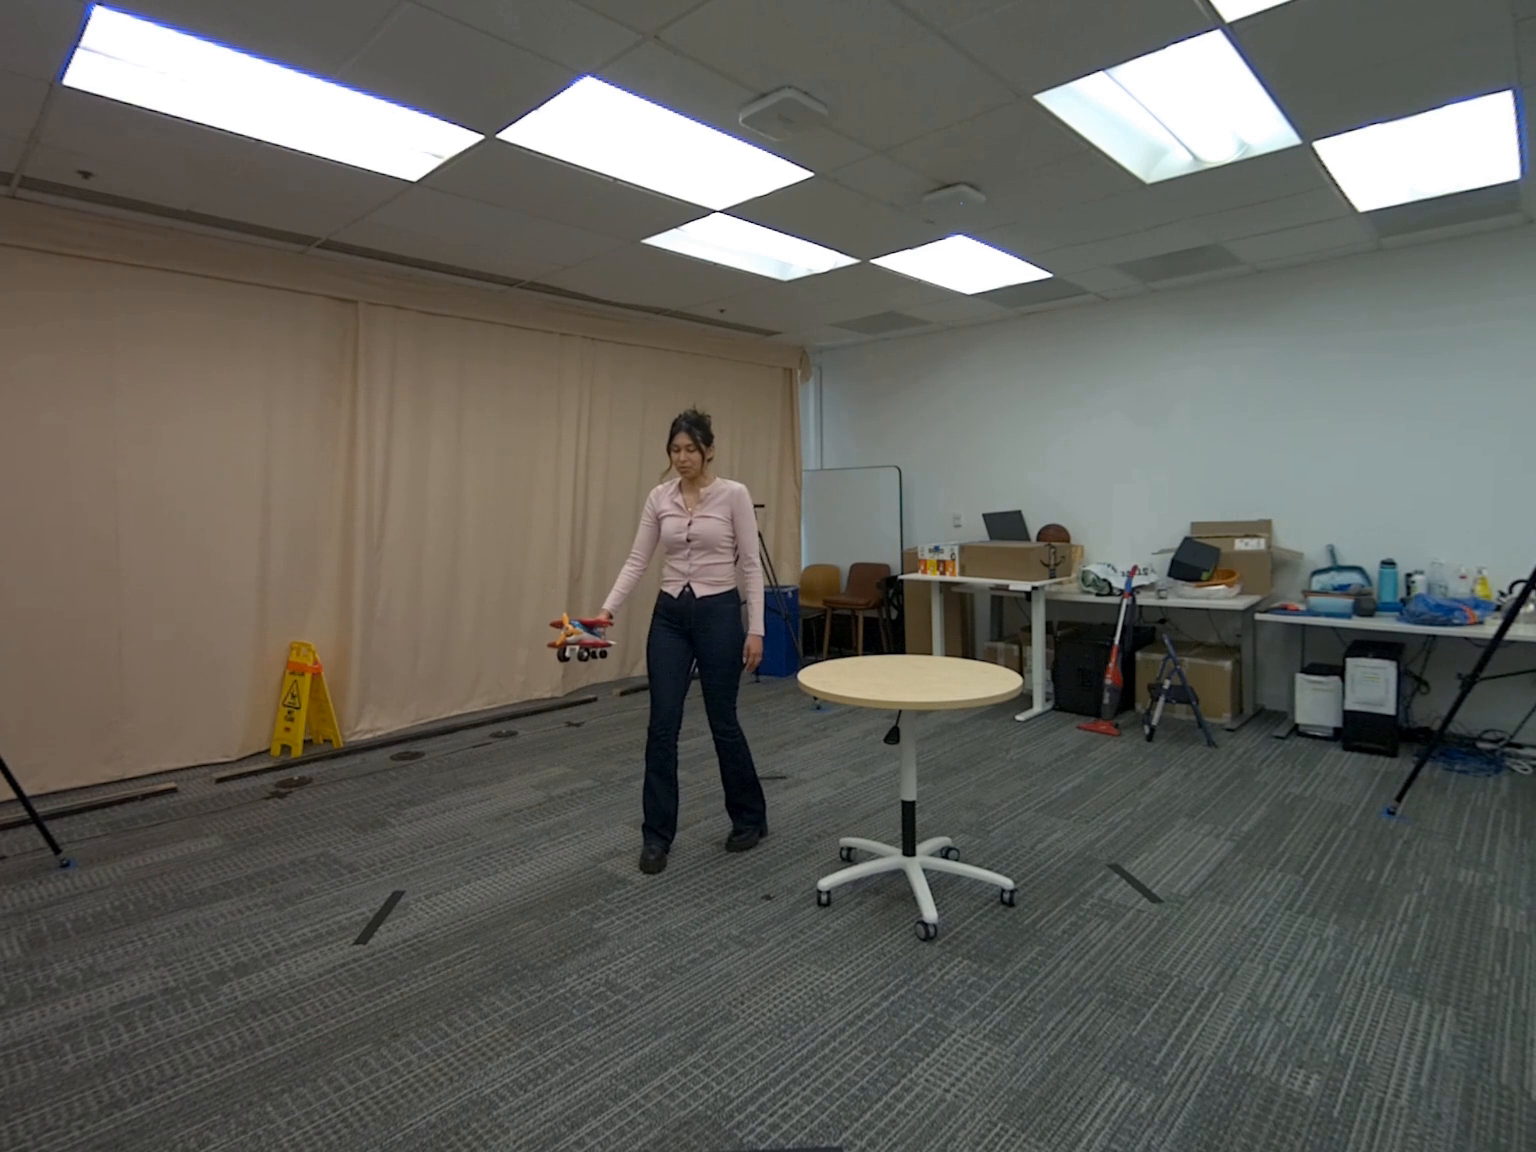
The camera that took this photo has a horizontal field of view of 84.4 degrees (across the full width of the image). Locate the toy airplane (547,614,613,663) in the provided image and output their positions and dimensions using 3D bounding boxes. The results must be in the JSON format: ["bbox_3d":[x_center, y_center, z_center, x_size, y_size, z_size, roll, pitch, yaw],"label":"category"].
[{"bbox_3d":[-0.696,0.235,3.132,0.250,0.157,0.260,-3,-3,-6],"label":"toy airplane"}]
